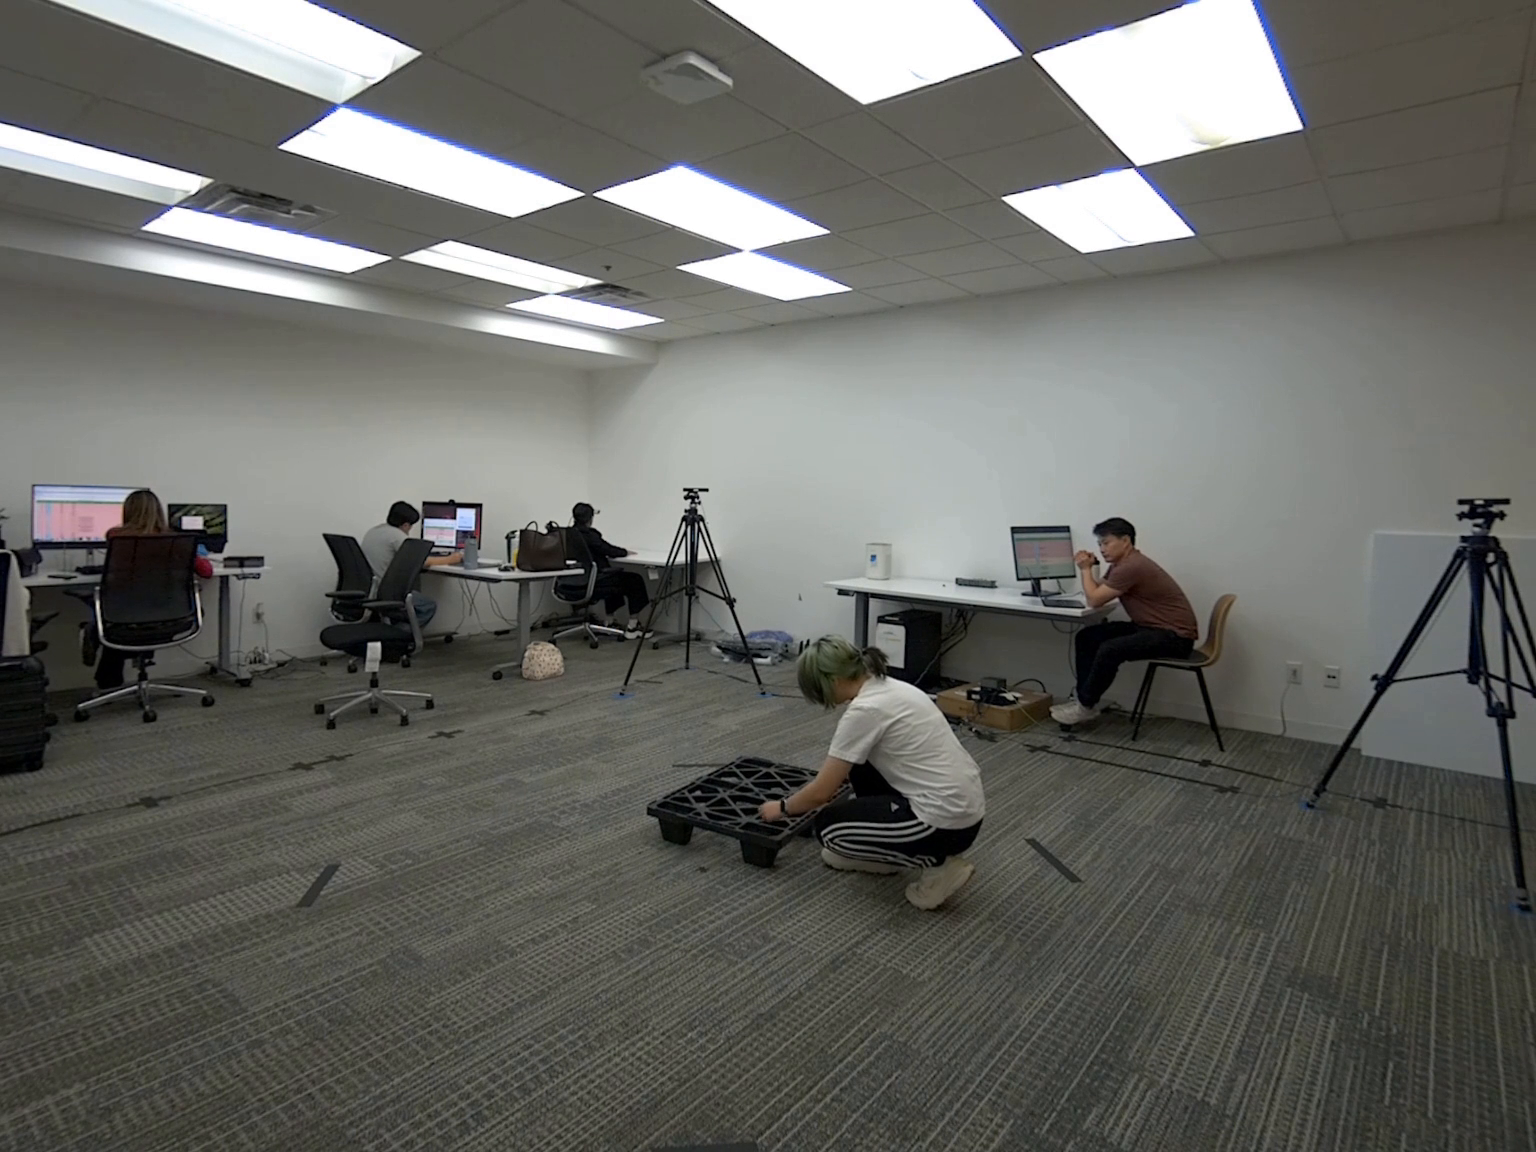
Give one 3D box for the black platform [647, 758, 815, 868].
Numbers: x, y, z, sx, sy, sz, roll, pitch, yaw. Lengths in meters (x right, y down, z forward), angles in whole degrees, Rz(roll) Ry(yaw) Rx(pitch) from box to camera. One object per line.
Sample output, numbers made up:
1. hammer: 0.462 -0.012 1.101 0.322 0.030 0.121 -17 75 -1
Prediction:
1. black platform: -0.056 0.962 3.548 0.623 0.143 0.785 3 5 29
